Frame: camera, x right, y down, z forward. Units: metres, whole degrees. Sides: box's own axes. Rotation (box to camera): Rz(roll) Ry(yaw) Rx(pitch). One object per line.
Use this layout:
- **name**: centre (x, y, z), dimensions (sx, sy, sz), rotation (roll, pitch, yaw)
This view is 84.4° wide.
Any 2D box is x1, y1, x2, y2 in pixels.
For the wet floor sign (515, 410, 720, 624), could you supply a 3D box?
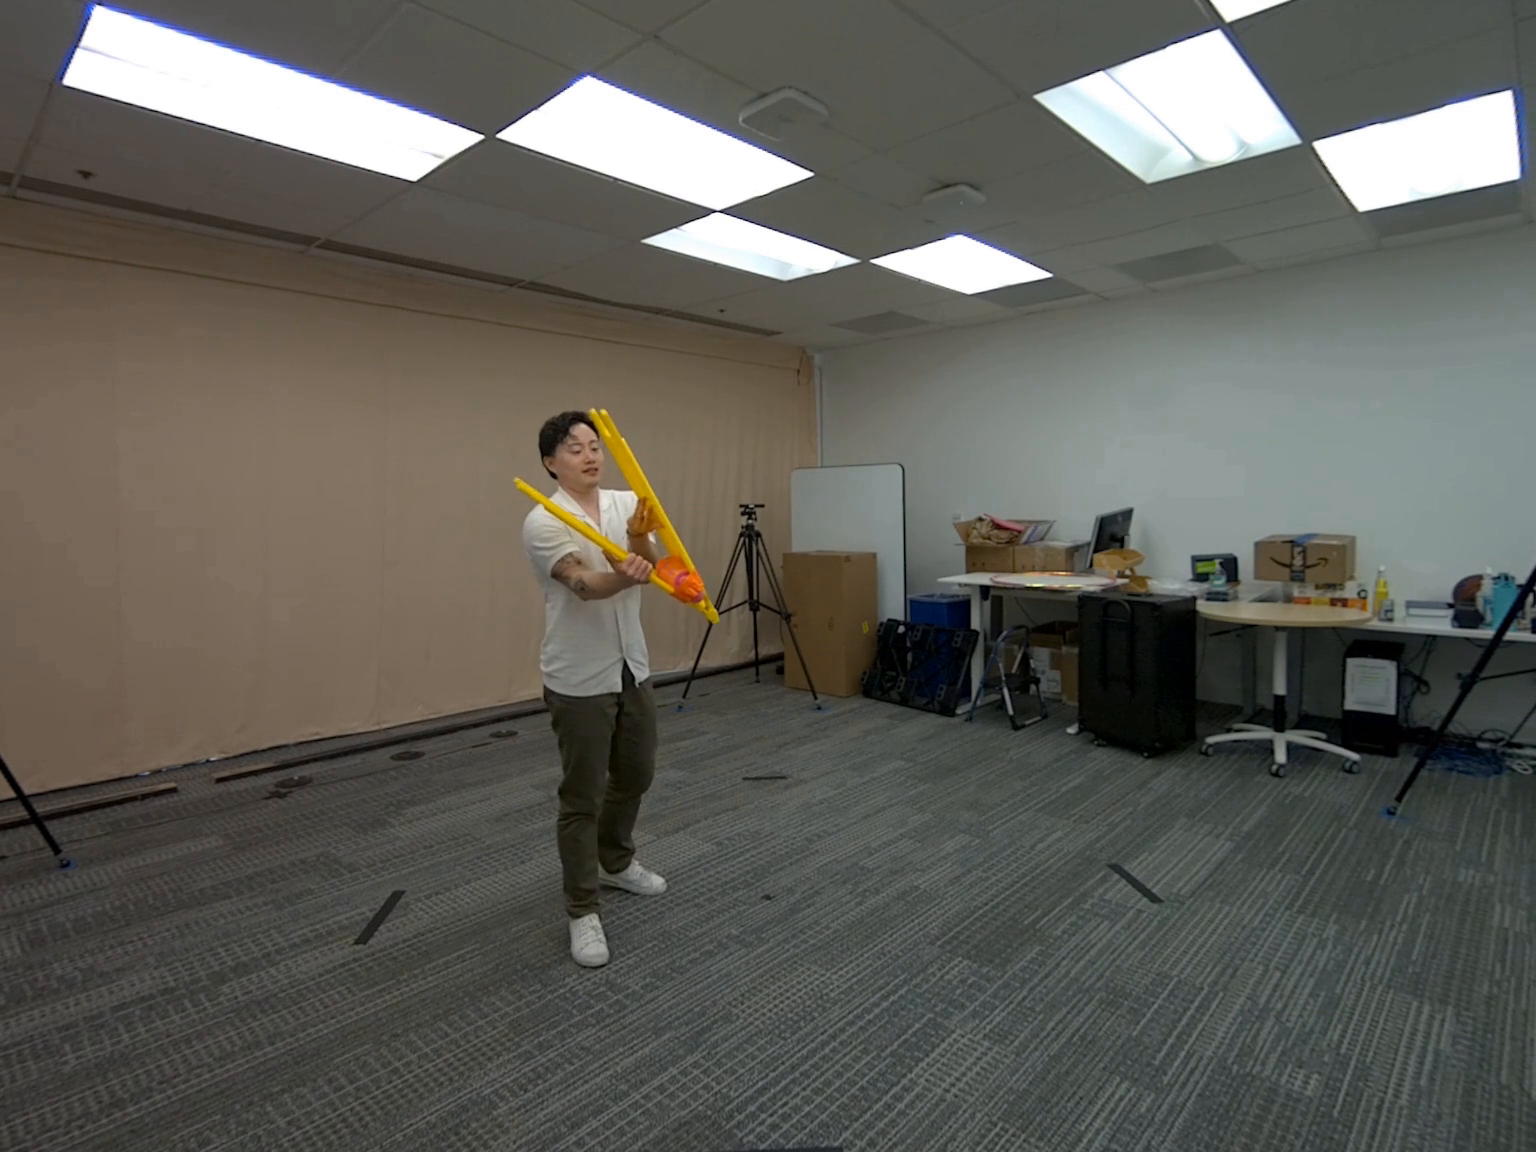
- **wet floor sign**: centre (-0.356, -0.113, 2.311), dimensions (0.289, 0.635, 0.287), rotation (-43, 15, -4)
